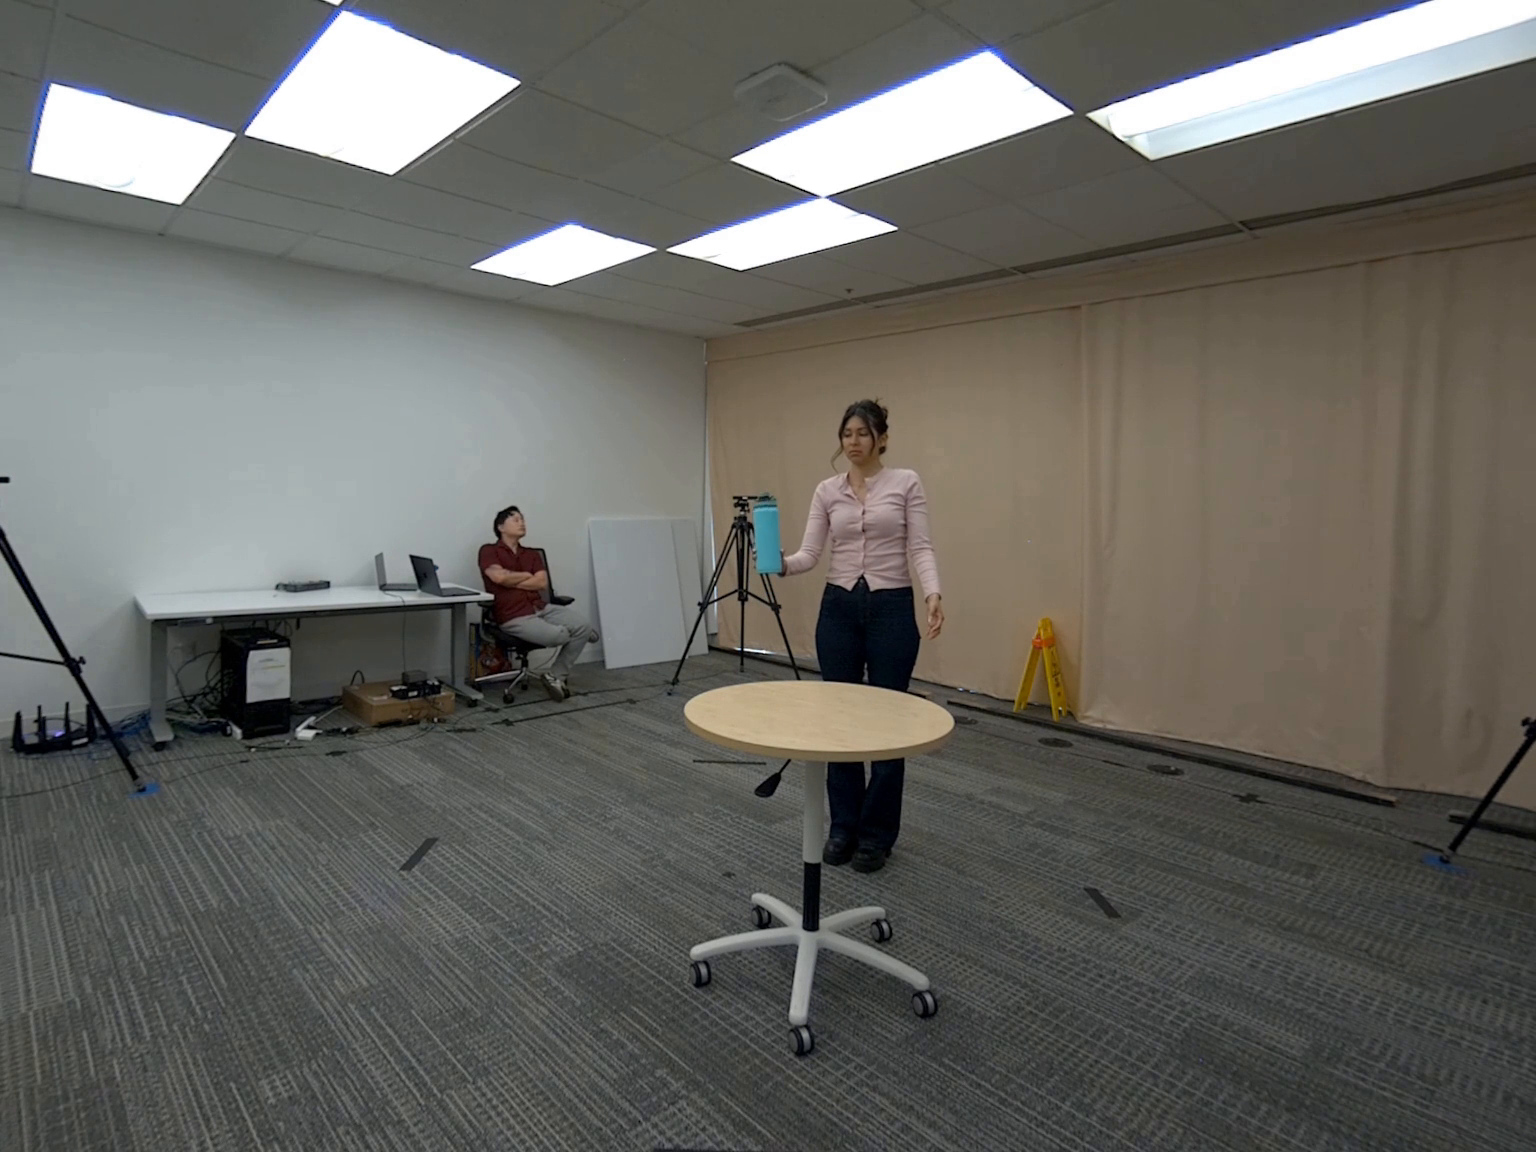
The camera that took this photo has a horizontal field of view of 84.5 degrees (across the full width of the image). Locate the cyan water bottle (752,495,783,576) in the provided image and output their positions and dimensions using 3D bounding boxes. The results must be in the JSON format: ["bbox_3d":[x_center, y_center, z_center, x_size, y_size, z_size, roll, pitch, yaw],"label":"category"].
[{"bbox_3d":[-0.004,-0.153,2.960,0.092,0.284,0.092,-4,-4,-2],"label":"cyan water bottle"}]
